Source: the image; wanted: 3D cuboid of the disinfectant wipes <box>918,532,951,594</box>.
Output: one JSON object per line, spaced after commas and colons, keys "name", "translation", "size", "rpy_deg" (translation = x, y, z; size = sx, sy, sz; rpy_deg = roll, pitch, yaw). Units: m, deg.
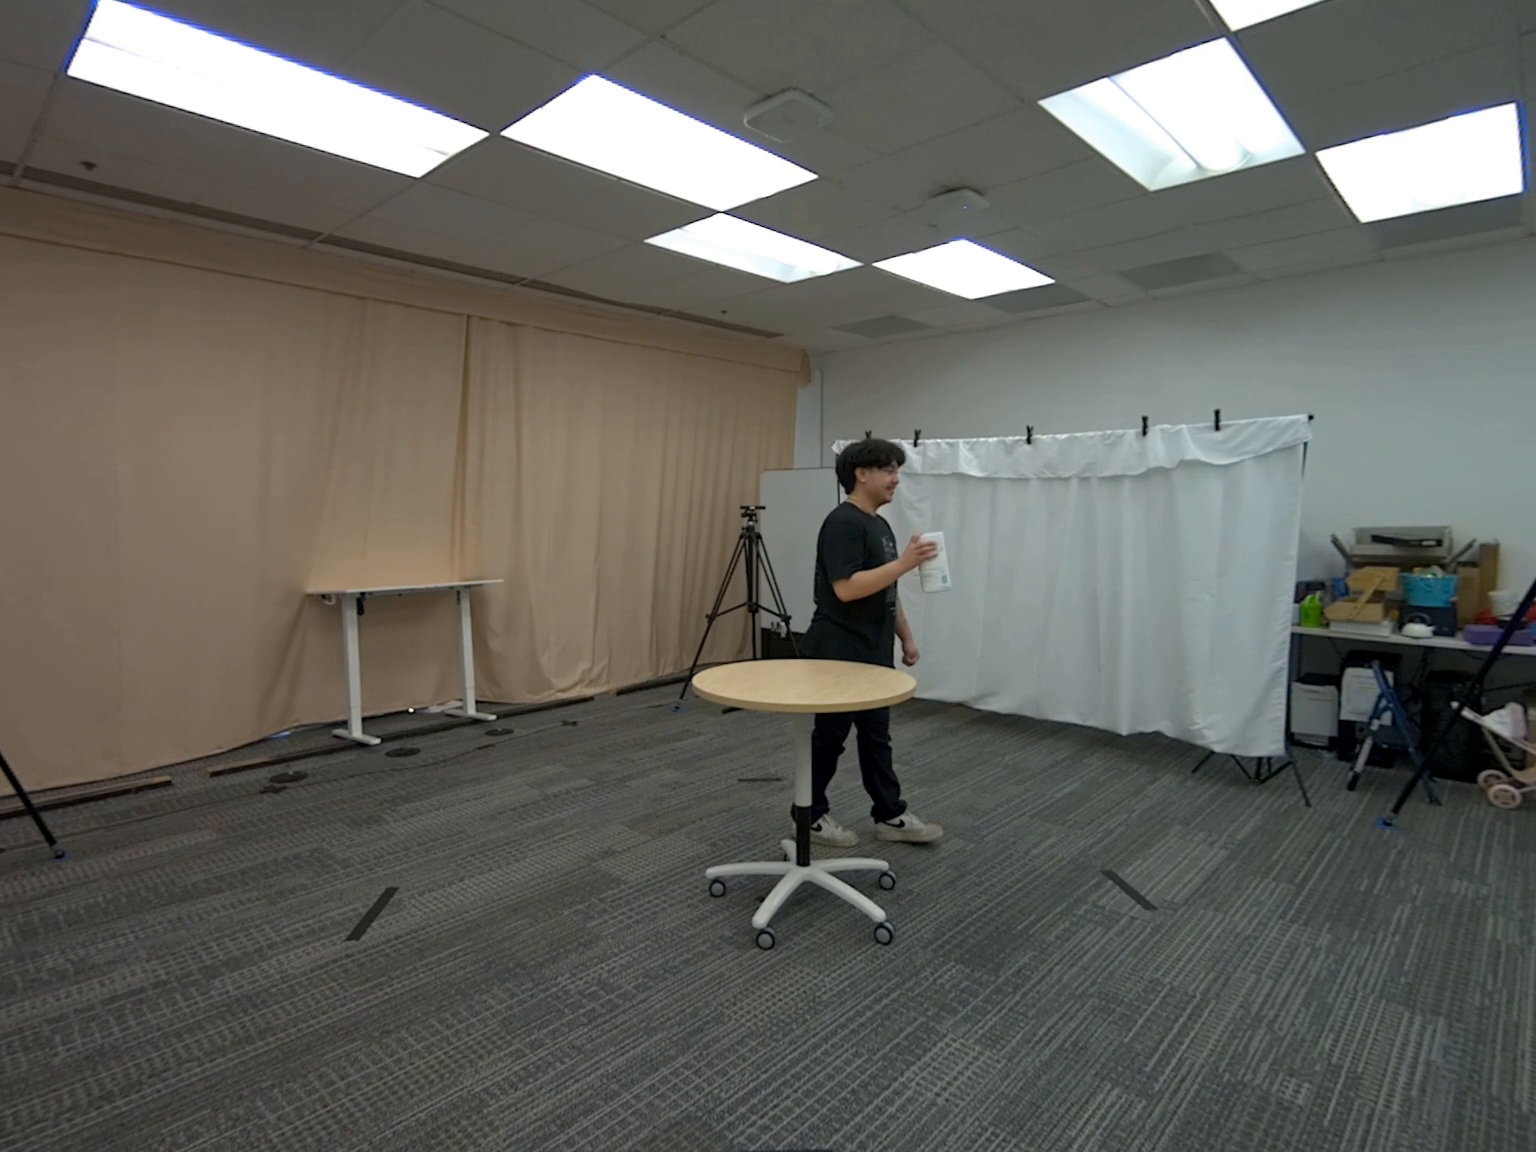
{"name": "disinfectant wipes", "translation": [0.619, -0.051, 3.116], "size": [0.118, 0.217, 0.118], "rpy_deg": [-9, 4, -1]}
